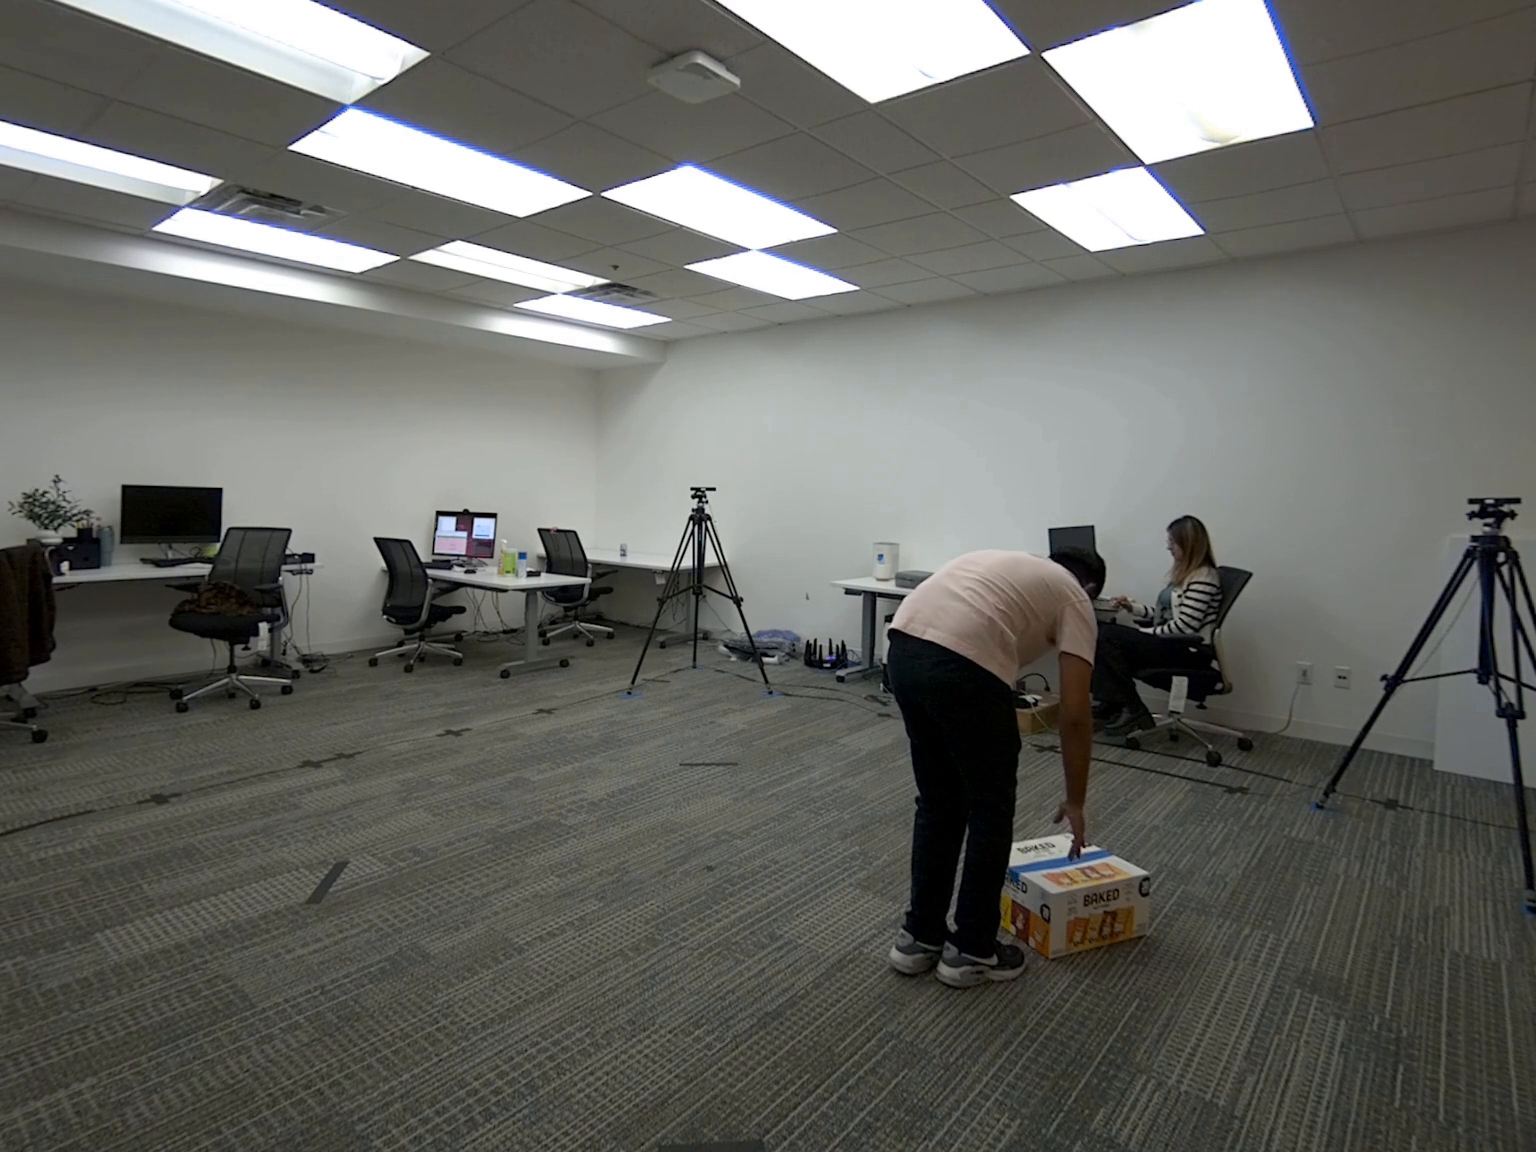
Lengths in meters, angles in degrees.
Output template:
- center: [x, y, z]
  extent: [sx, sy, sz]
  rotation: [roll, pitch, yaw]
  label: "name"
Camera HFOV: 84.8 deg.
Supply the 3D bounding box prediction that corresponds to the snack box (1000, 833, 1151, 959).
- center: [0.955, 1.024, 2.781]
  extent: [0.396, 0.205, 0.349]
  rotation: [-2, 6, -23]
  label: "snack box"
